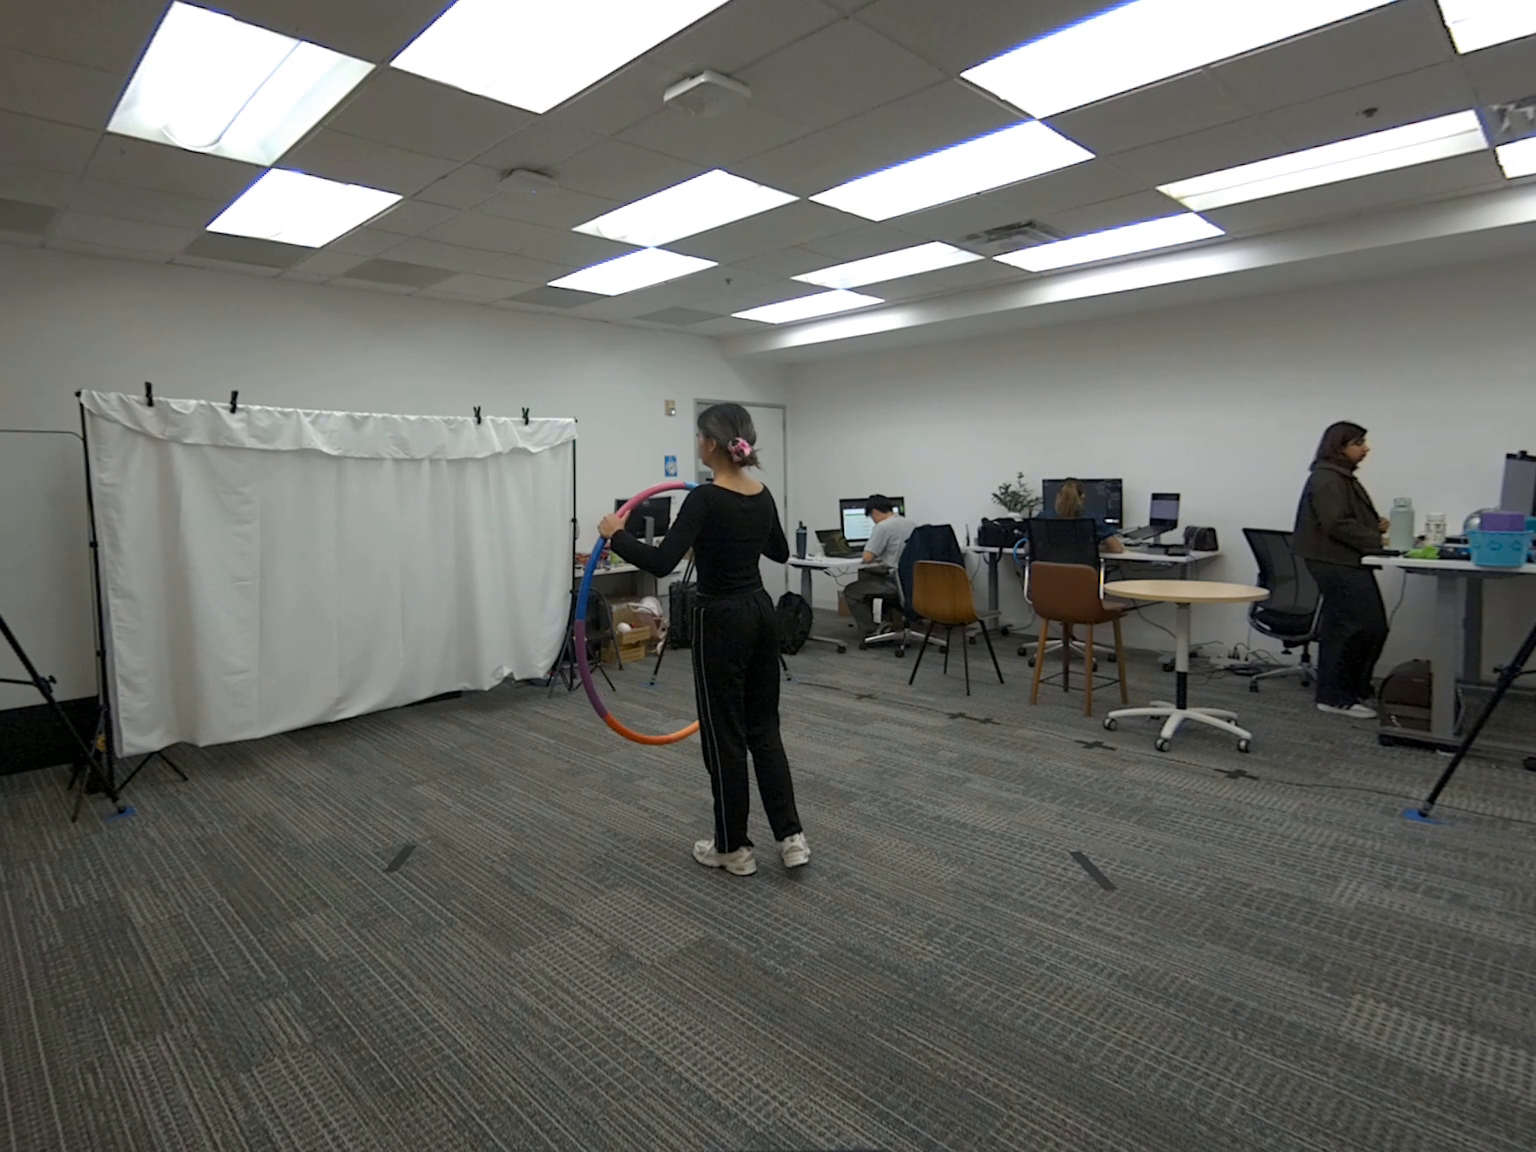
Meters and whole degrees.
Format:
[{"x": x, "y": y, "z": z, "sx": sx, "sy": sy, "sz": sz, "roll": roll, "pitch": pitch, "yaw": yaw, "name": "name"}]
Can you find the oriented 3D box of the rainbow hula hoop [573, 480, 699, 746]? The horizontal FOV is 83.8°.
[{"x": -0.342, "y": 0.136, "z": 3.236, "sx": 0.036, "sy": 0.974, "sz": 0.953, "roll": 4, "pitch": 7, "yaw": 41, "name": "rainbow hula hoop"}]
